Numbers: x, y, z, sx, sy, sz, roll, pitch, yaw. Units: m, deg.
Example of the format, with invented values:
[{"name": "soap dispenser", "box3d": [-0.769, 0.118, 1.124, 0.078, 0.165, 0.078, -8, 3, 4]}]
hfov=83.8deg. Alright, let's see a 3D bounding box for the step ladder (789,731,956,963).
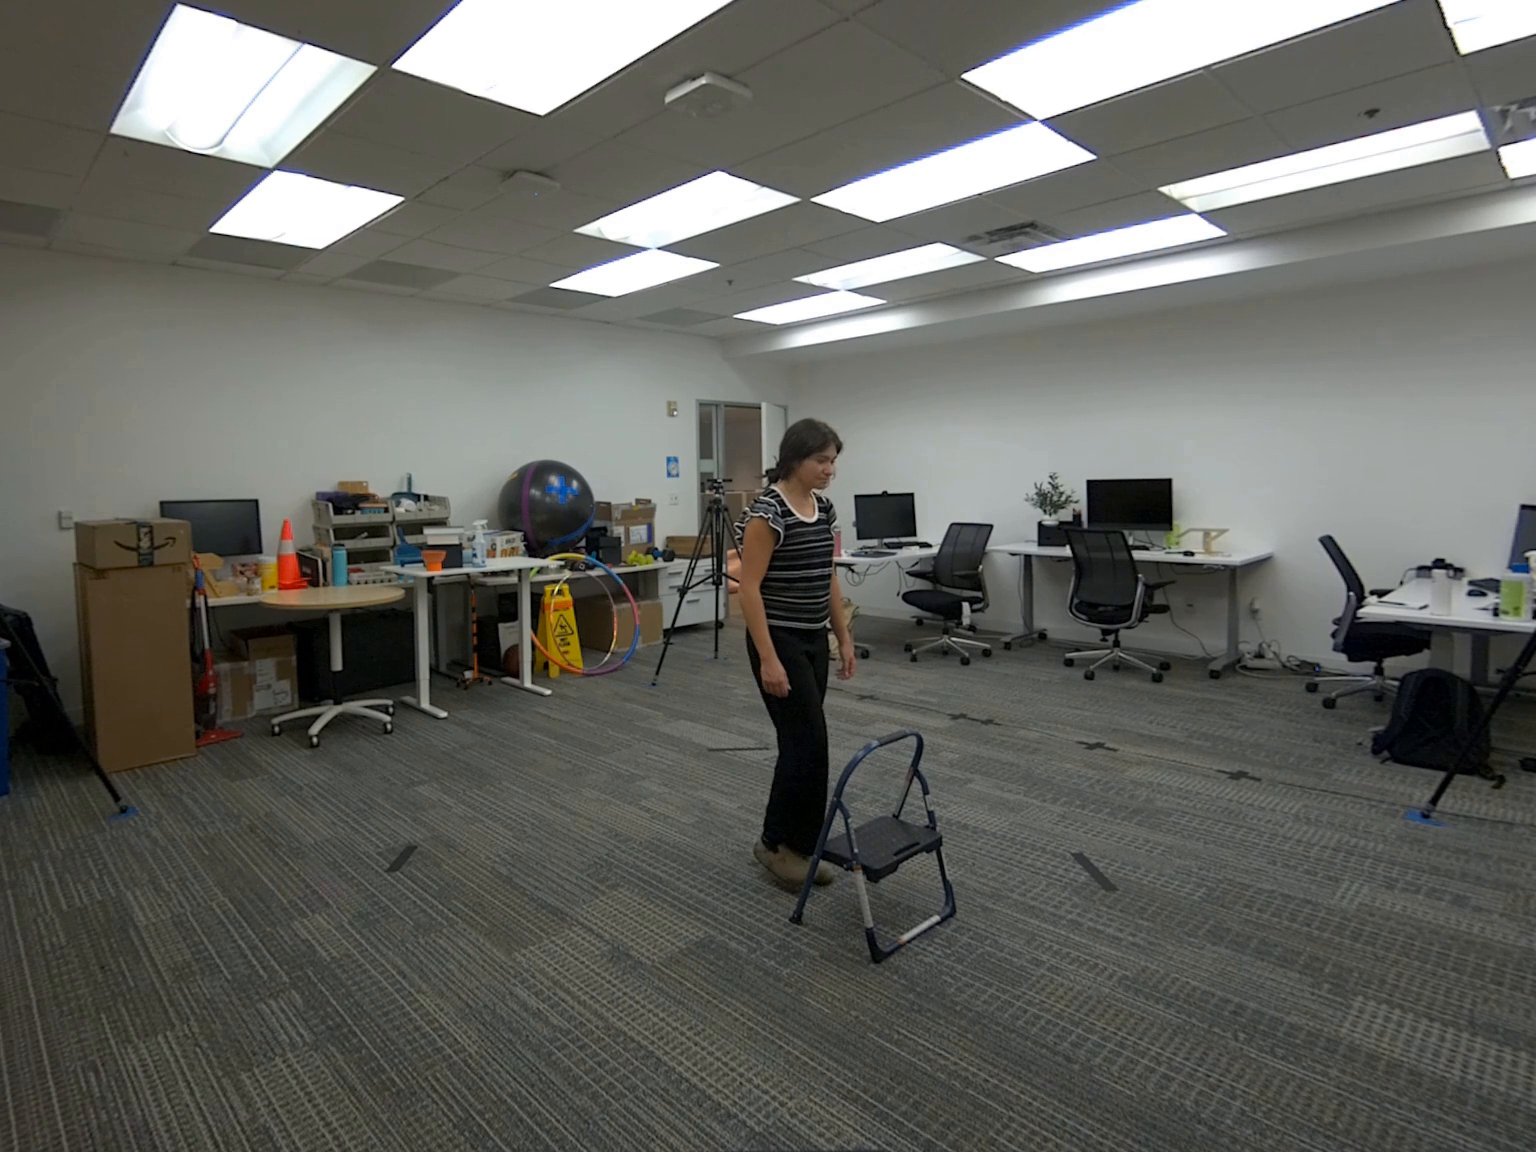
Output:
[{"name": "step ladder", "box3d": [0.333, 0.784, 2.693, 0.419, 0.604, 0.360, -5, 6, -45]}]
